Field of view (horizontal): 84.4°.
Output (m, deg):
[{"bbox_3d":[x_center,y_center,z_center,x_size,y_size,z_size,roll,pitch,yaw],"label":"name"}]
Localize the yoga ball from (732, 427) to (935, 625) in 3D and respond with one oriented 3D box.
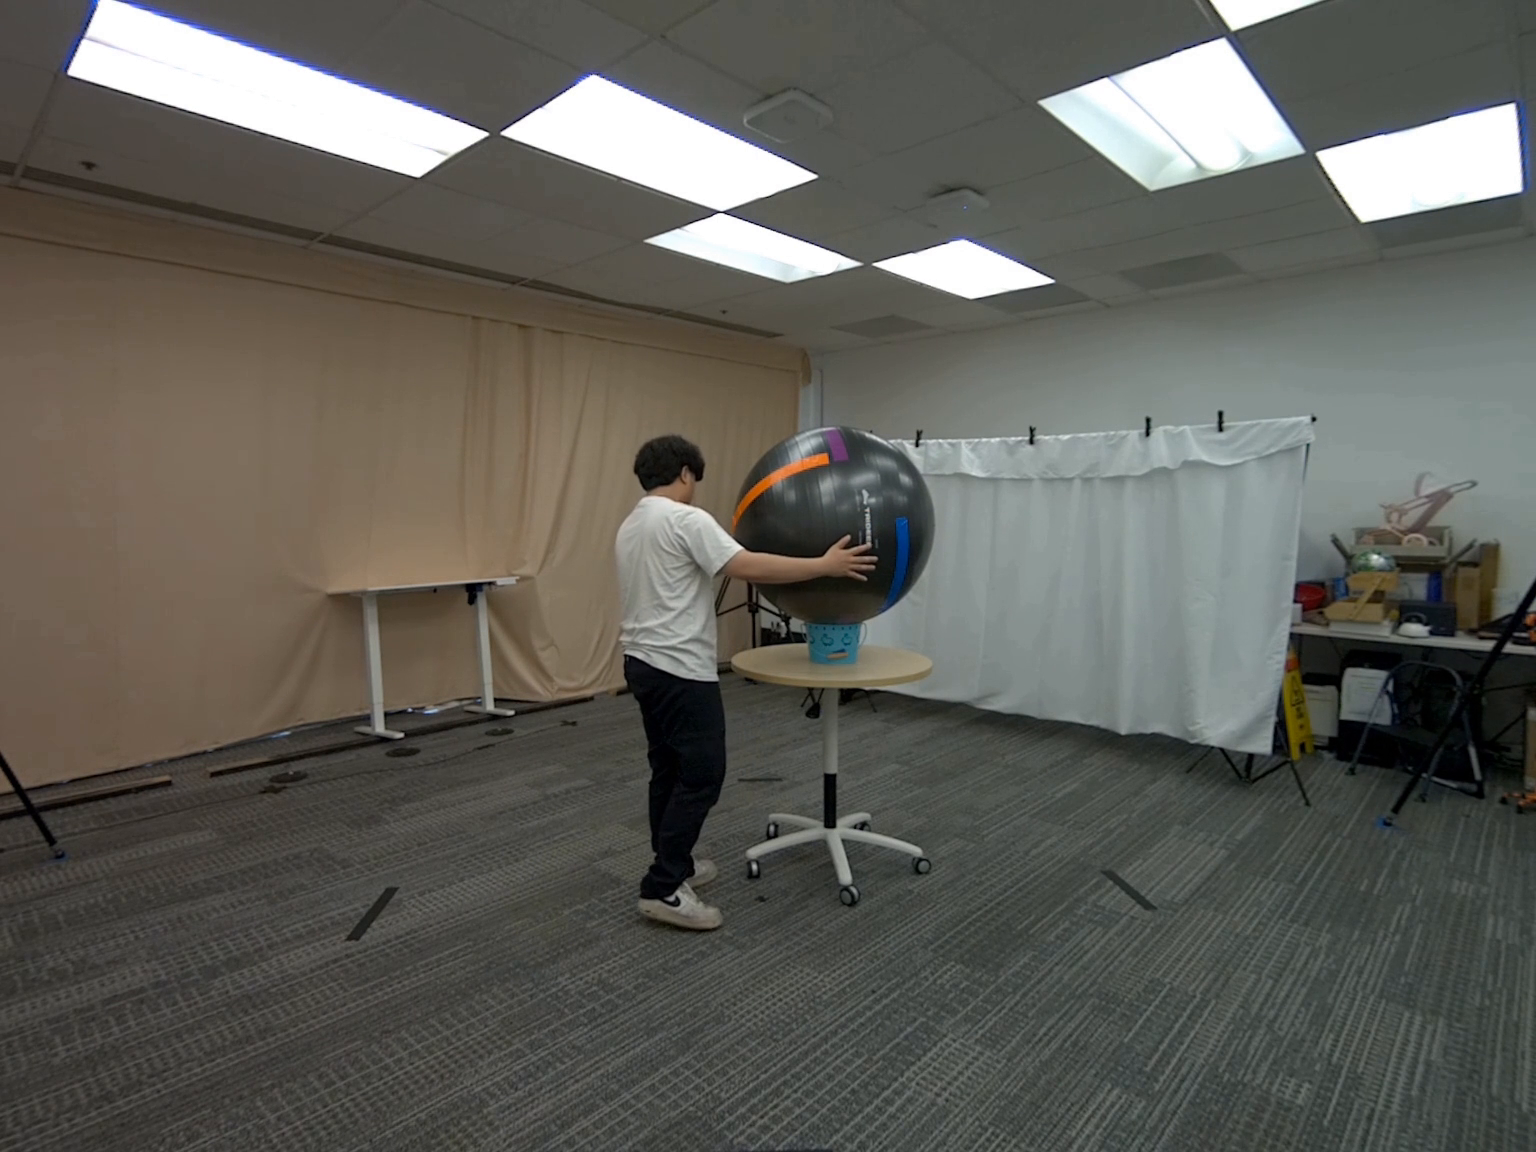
[{"bbox_3d":[0.256,-0.186,3.222,0.757,0.756,0.761,0,4,-2],"label":"yoga ball"}]
